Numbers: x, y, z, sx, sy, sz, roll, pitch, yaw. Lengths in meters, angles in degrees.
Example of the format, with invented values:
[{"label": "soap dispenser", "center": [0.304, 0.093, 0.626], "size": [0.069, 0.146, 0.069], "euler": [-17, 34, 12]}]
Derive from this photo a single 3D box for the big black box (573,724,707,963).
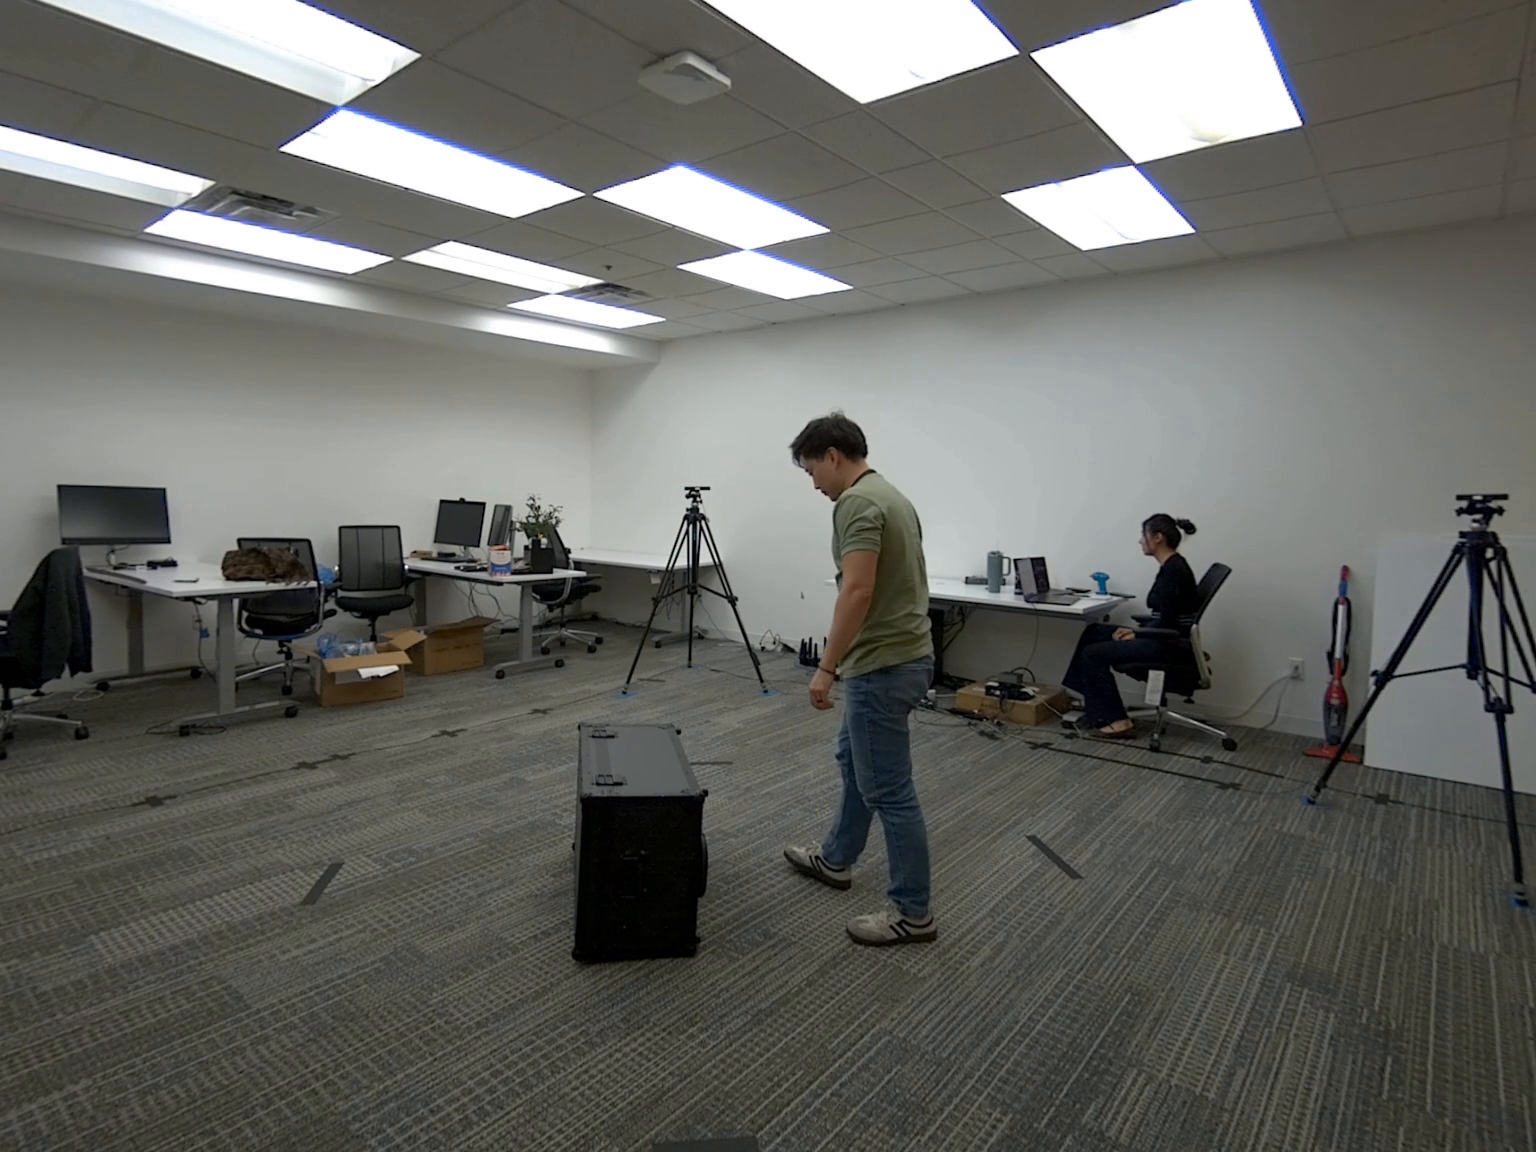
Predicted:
[{"label": "big black box", "center": [-0.464, 0.827, 2.889], "size": [0.391, 0.519, 0.876], "euler": [2, 5, -13]}]
